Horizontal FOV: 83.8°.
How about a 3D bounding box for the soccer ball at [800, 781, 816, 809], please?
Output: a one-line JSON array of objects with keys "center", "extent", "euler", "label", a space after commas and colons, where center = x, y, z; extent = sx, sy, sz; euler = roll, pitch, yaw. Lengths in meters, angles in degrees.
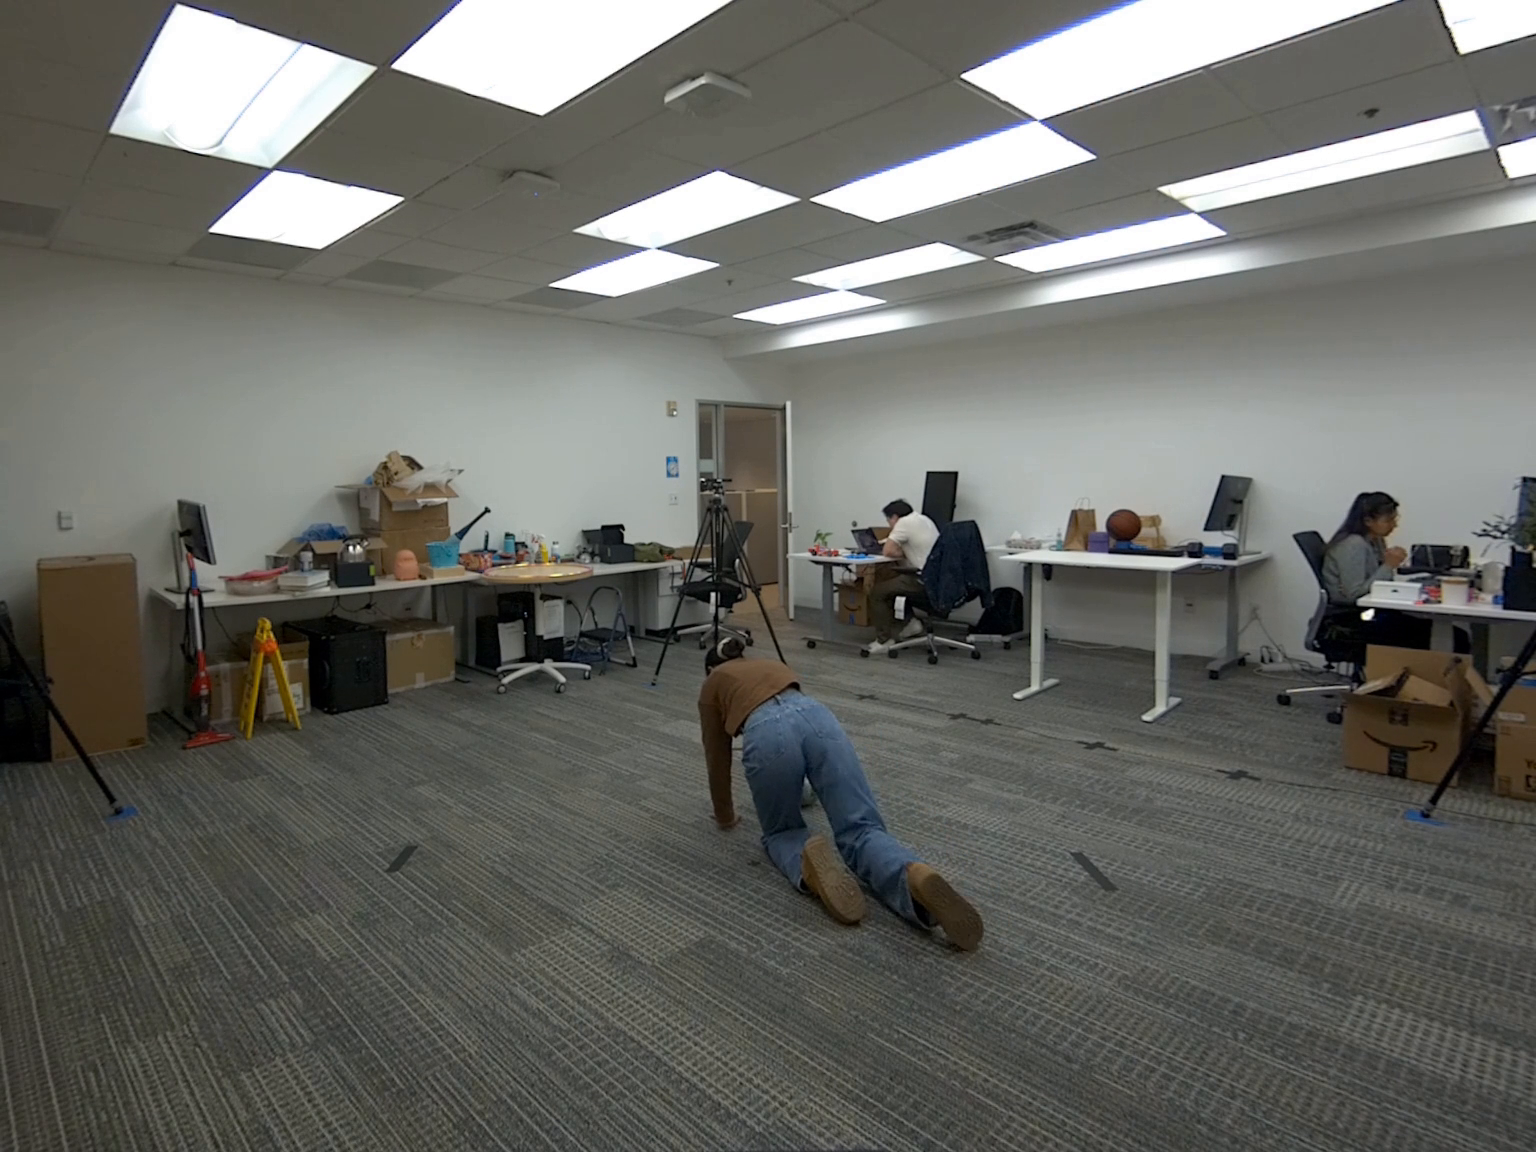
[{"center": [0.158, 0.887, 3.655], "extent": [0.187, 0.187, 0.188], "euler": [-1, 5, -2], "label": "soccer ball"}]
